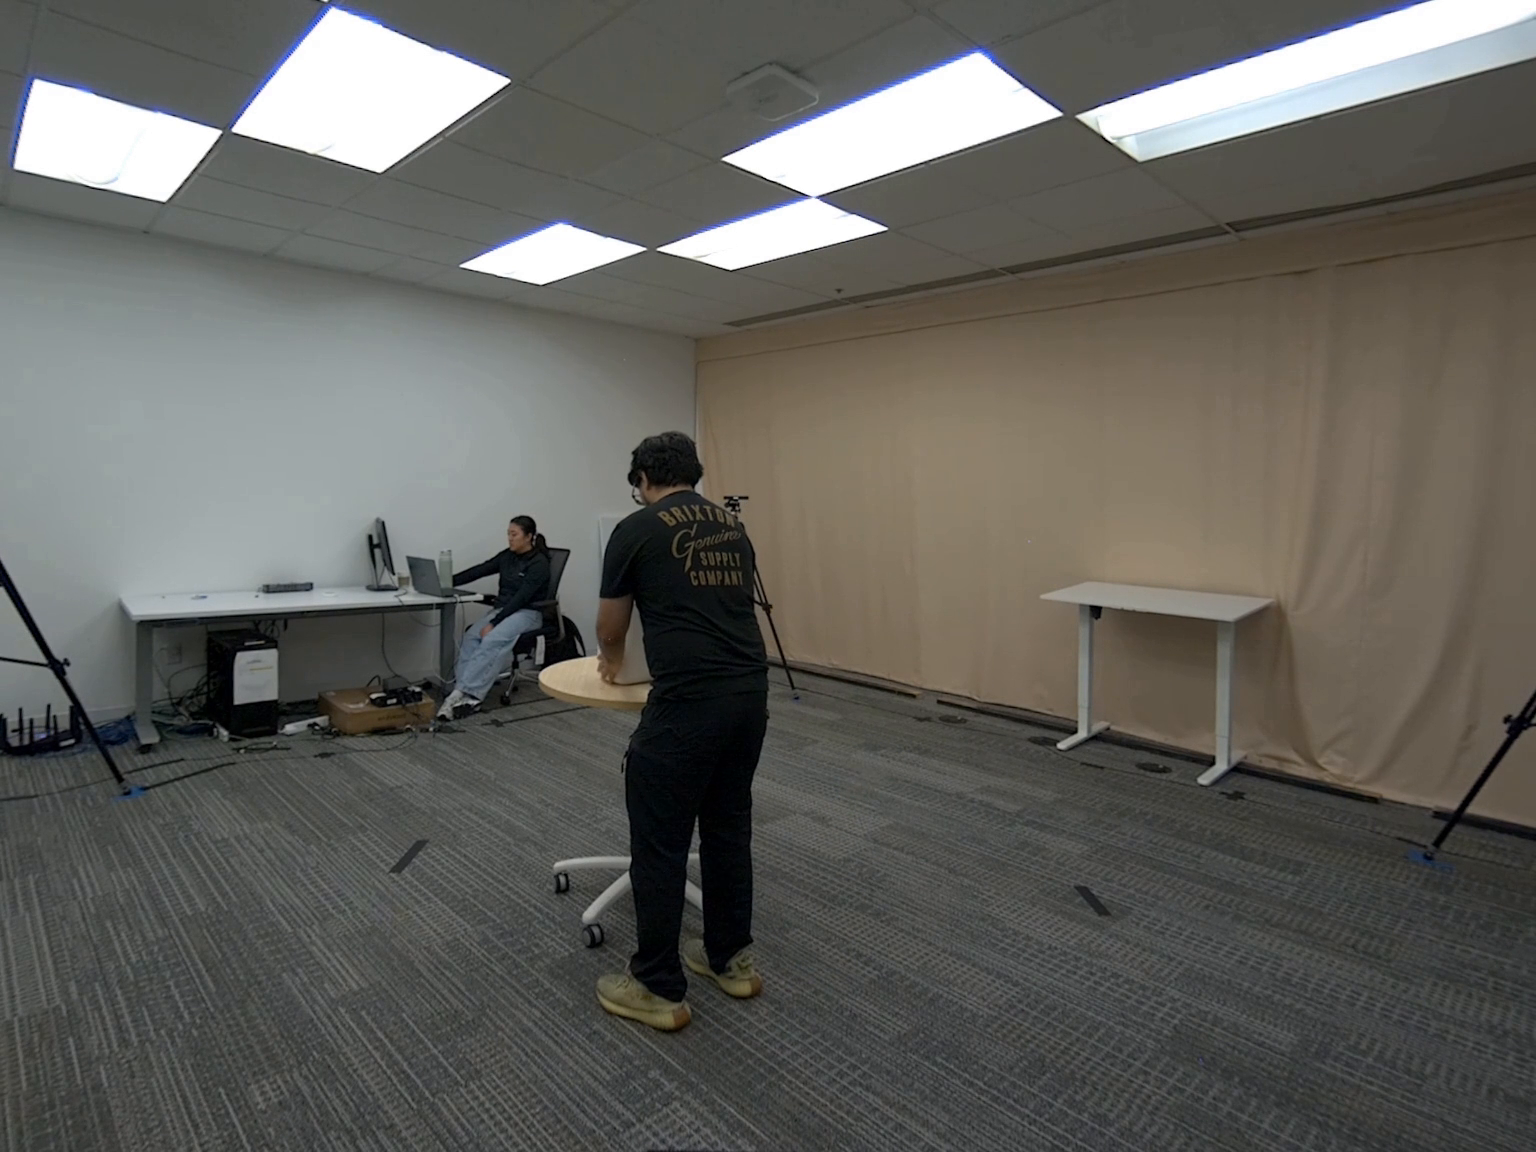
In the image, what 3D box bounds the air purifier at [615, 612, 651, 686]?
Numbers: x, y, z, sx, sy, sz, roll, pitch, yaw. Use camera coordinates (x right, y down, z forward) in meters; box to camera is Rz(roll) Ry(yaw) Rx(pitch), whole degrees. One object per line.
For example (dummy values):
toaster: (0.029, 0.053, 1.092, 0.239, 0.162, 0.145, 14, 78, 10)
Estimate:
air purifier: (-0.458, 0.214, 2.760, 0.176, 0.265, 0.167, 3, 5, 40)
